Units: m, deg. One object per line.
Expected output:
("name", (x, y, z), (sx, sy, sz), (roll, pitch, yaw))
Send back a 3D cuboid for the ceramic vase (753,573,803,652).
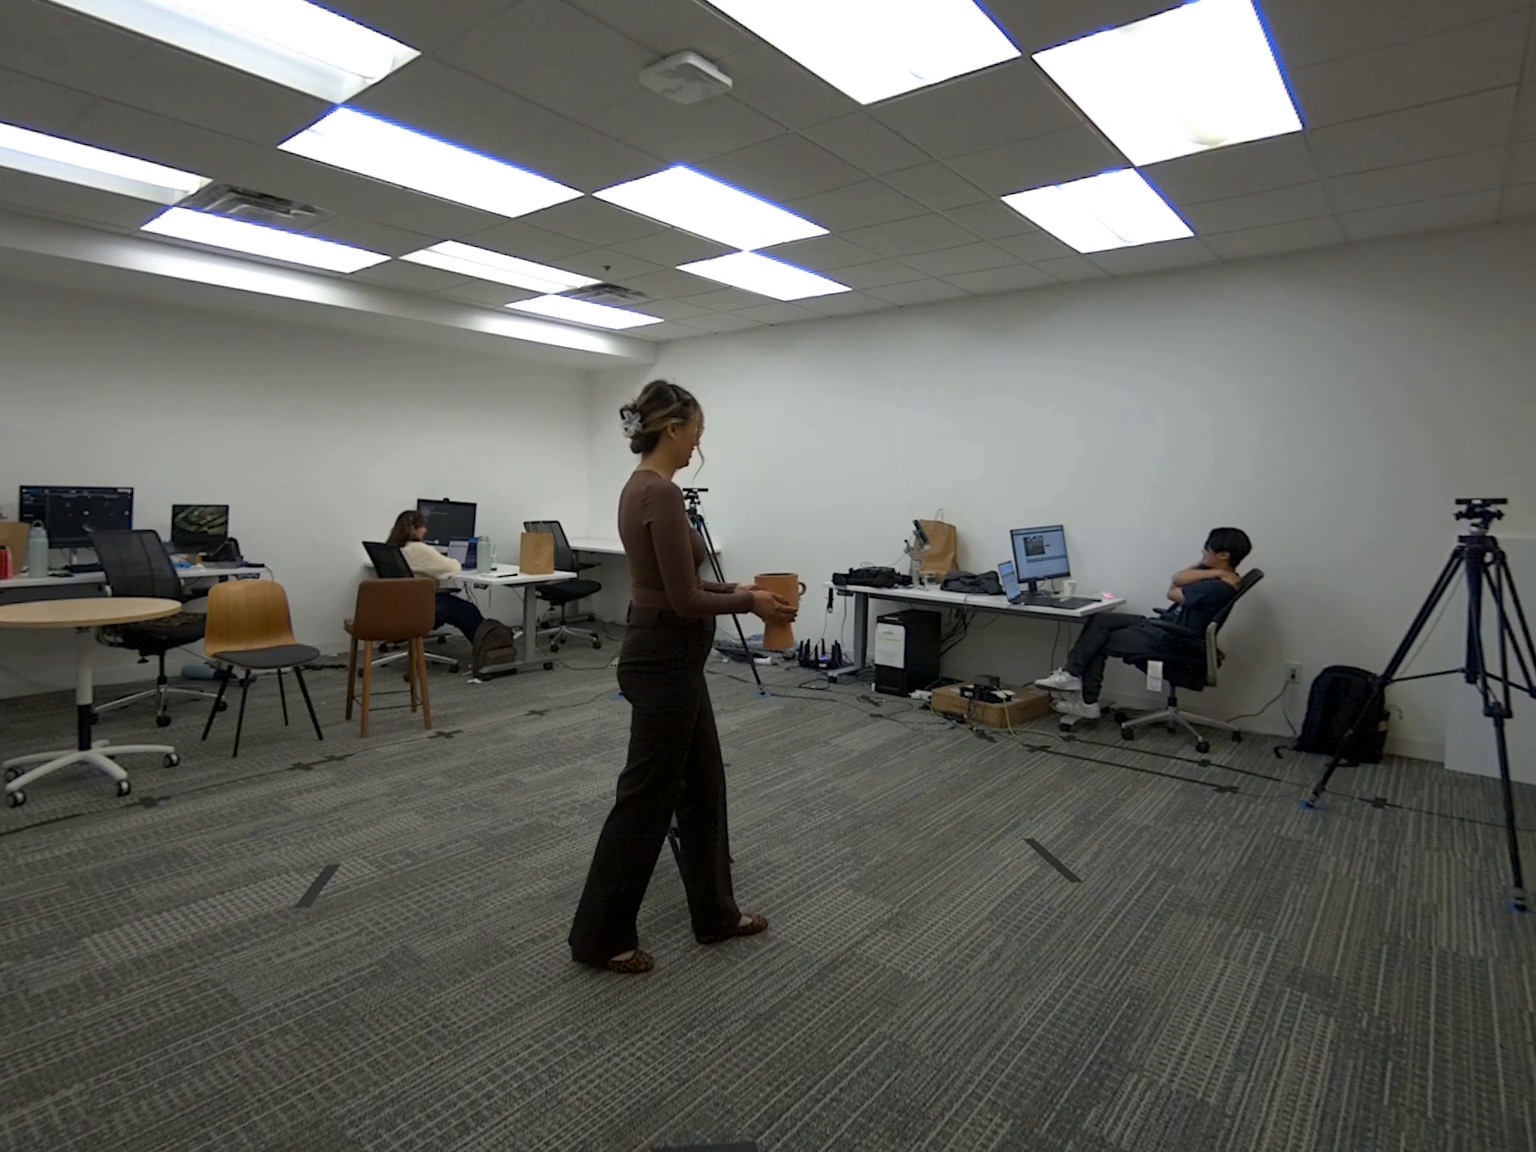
("ceramic vase", (0.018, 0.103, 2.585), (0.162, 0.219, 0.132), (-2, 1, 17))
